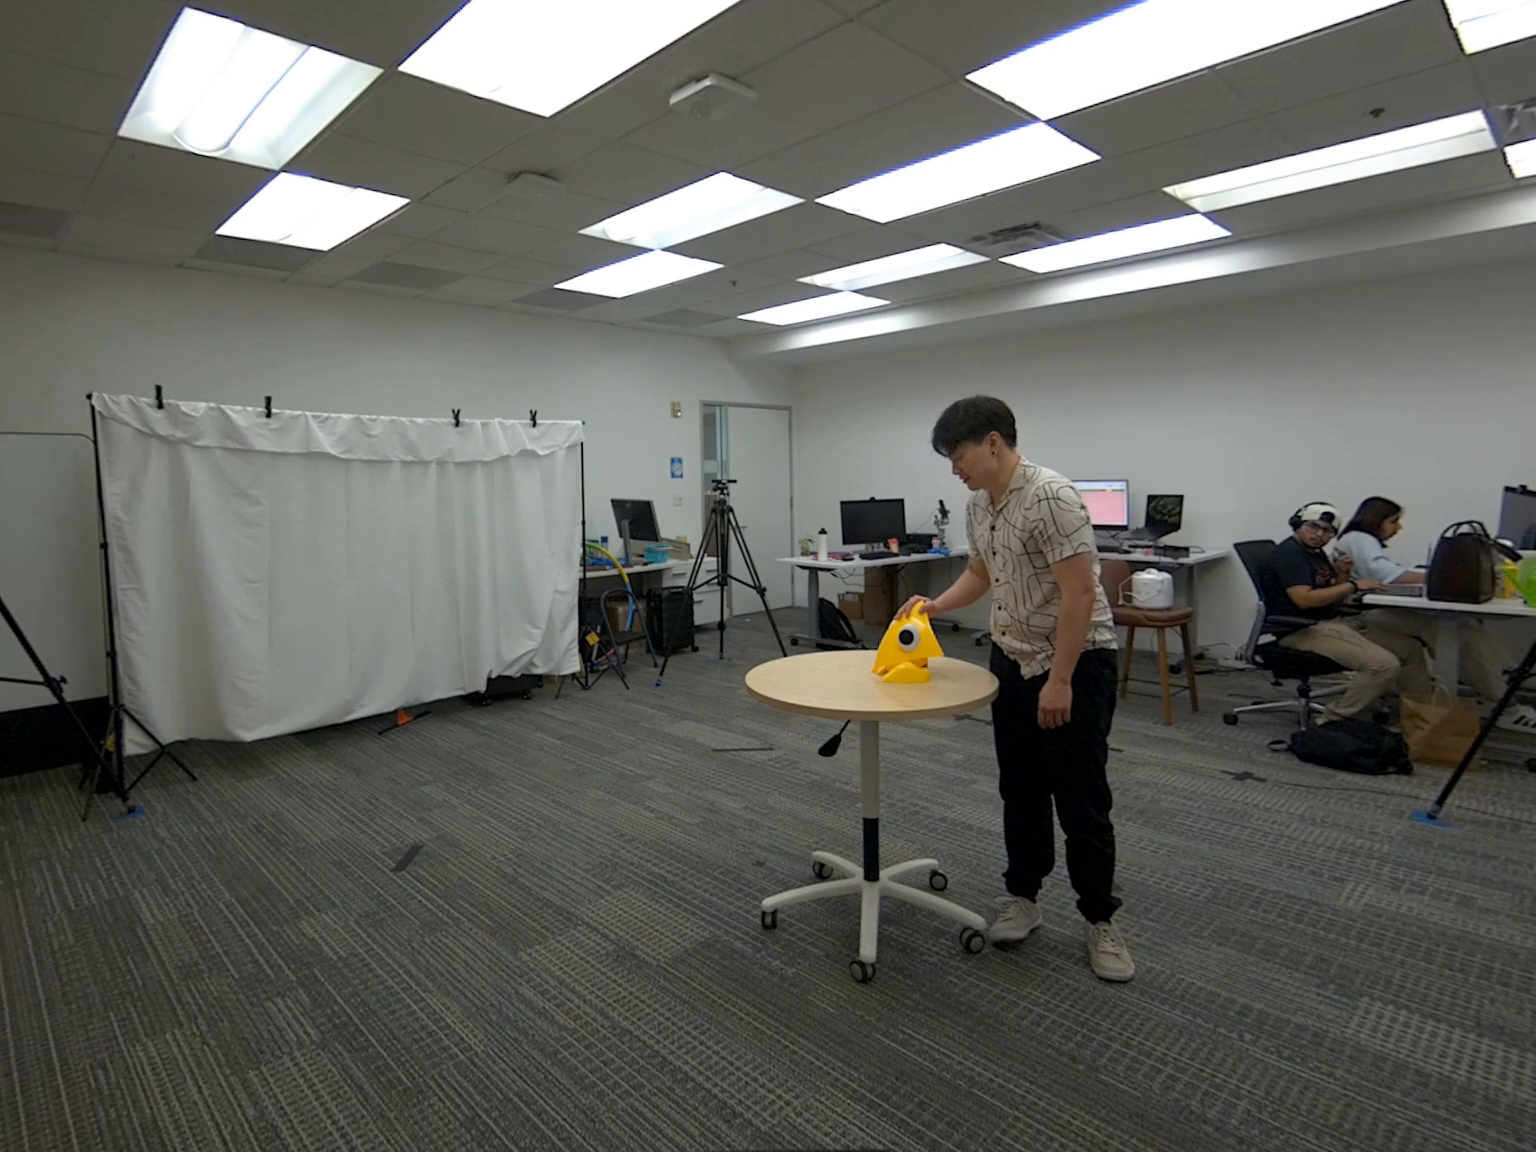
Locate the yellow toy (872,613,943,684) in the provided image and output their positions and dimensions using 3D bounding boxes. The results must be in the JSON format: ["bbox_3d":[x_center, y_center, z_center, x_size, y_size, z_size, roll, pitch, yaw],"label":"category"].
[{"bbox_3d":[0.432,0.195,2.632,0.192,0.230,0.207,-2,5,-7],"label":"yellow toy"}]
